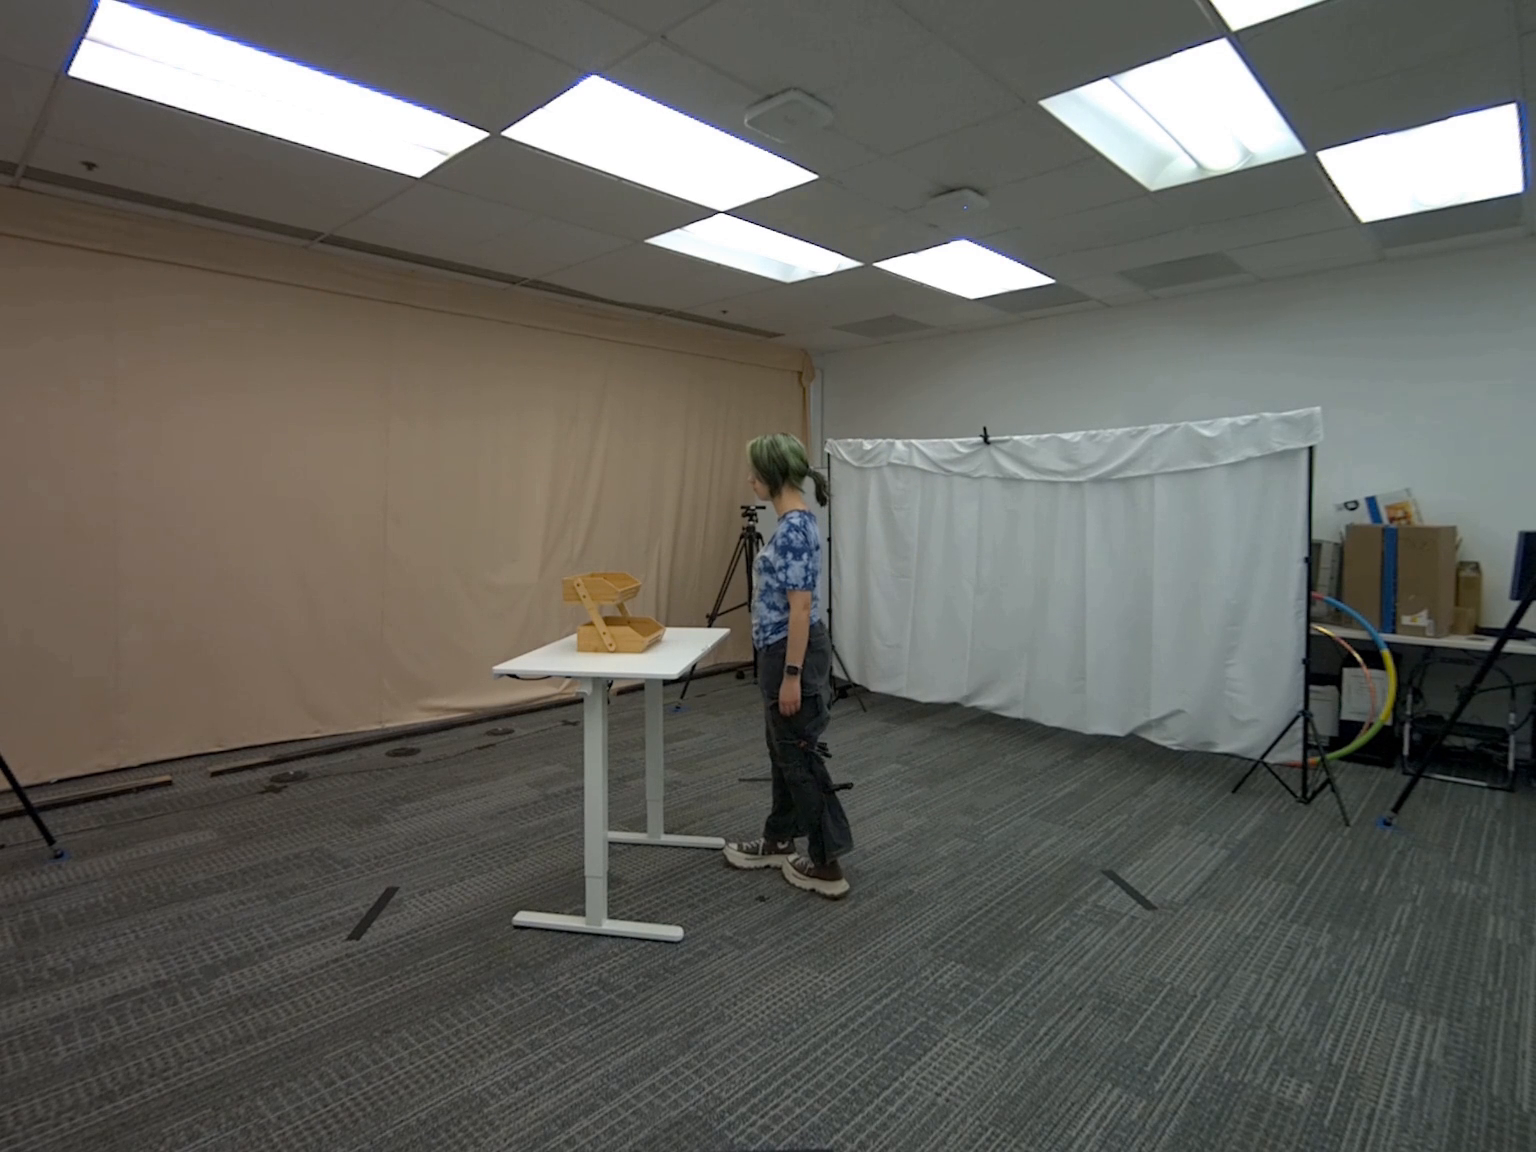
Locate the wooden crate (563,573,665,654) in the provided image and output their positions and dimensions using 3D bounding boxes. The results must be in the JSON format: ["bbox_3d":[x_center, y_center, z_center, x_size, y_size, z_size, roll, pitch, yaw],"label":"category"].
[{"bbox_3d":[-0.553,0.126,3.085,0.305,0.273,0.322,-1,3,8],"label":"wooden crate"}]
